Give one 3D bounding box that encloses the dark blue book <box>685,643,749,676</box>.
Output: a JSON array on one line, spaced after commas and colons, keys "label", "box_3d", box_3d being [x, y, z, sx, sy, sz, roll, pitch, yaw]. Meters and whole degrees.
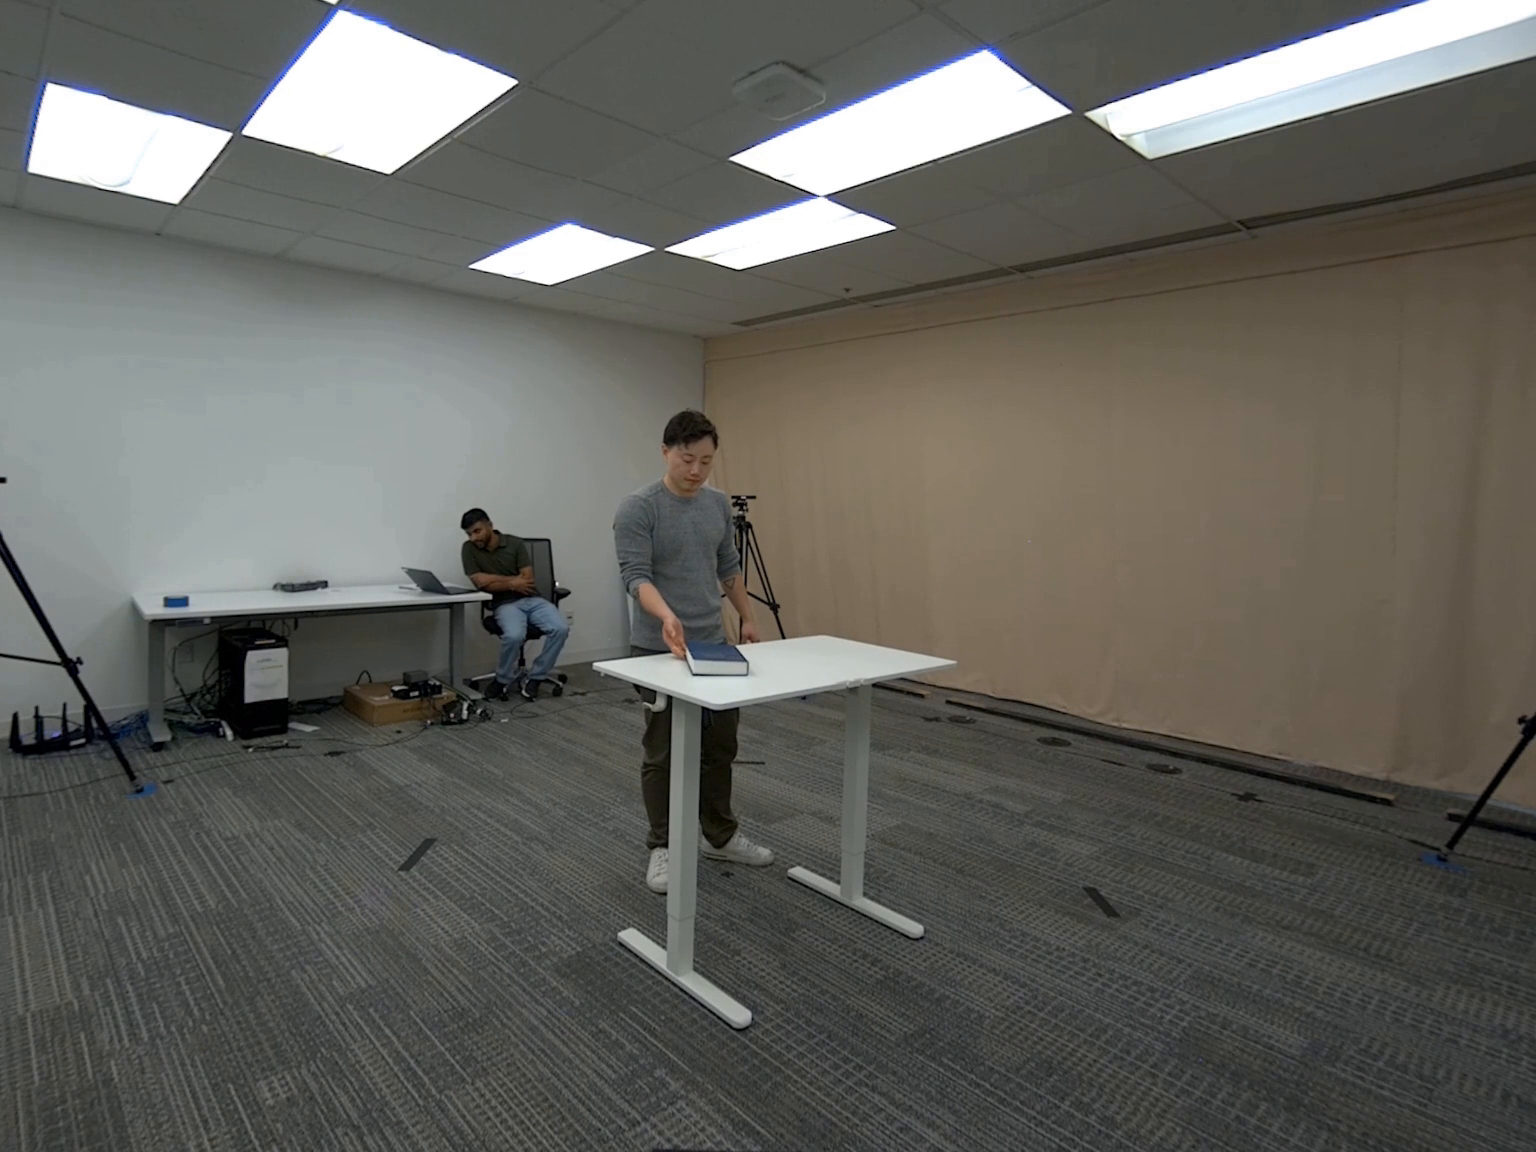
[{"label": "dark blue book", "box_3d": [-0.140, 0.258, 2.497, 0.163, 0.045, 0.247, 2, 7, -5]}]
